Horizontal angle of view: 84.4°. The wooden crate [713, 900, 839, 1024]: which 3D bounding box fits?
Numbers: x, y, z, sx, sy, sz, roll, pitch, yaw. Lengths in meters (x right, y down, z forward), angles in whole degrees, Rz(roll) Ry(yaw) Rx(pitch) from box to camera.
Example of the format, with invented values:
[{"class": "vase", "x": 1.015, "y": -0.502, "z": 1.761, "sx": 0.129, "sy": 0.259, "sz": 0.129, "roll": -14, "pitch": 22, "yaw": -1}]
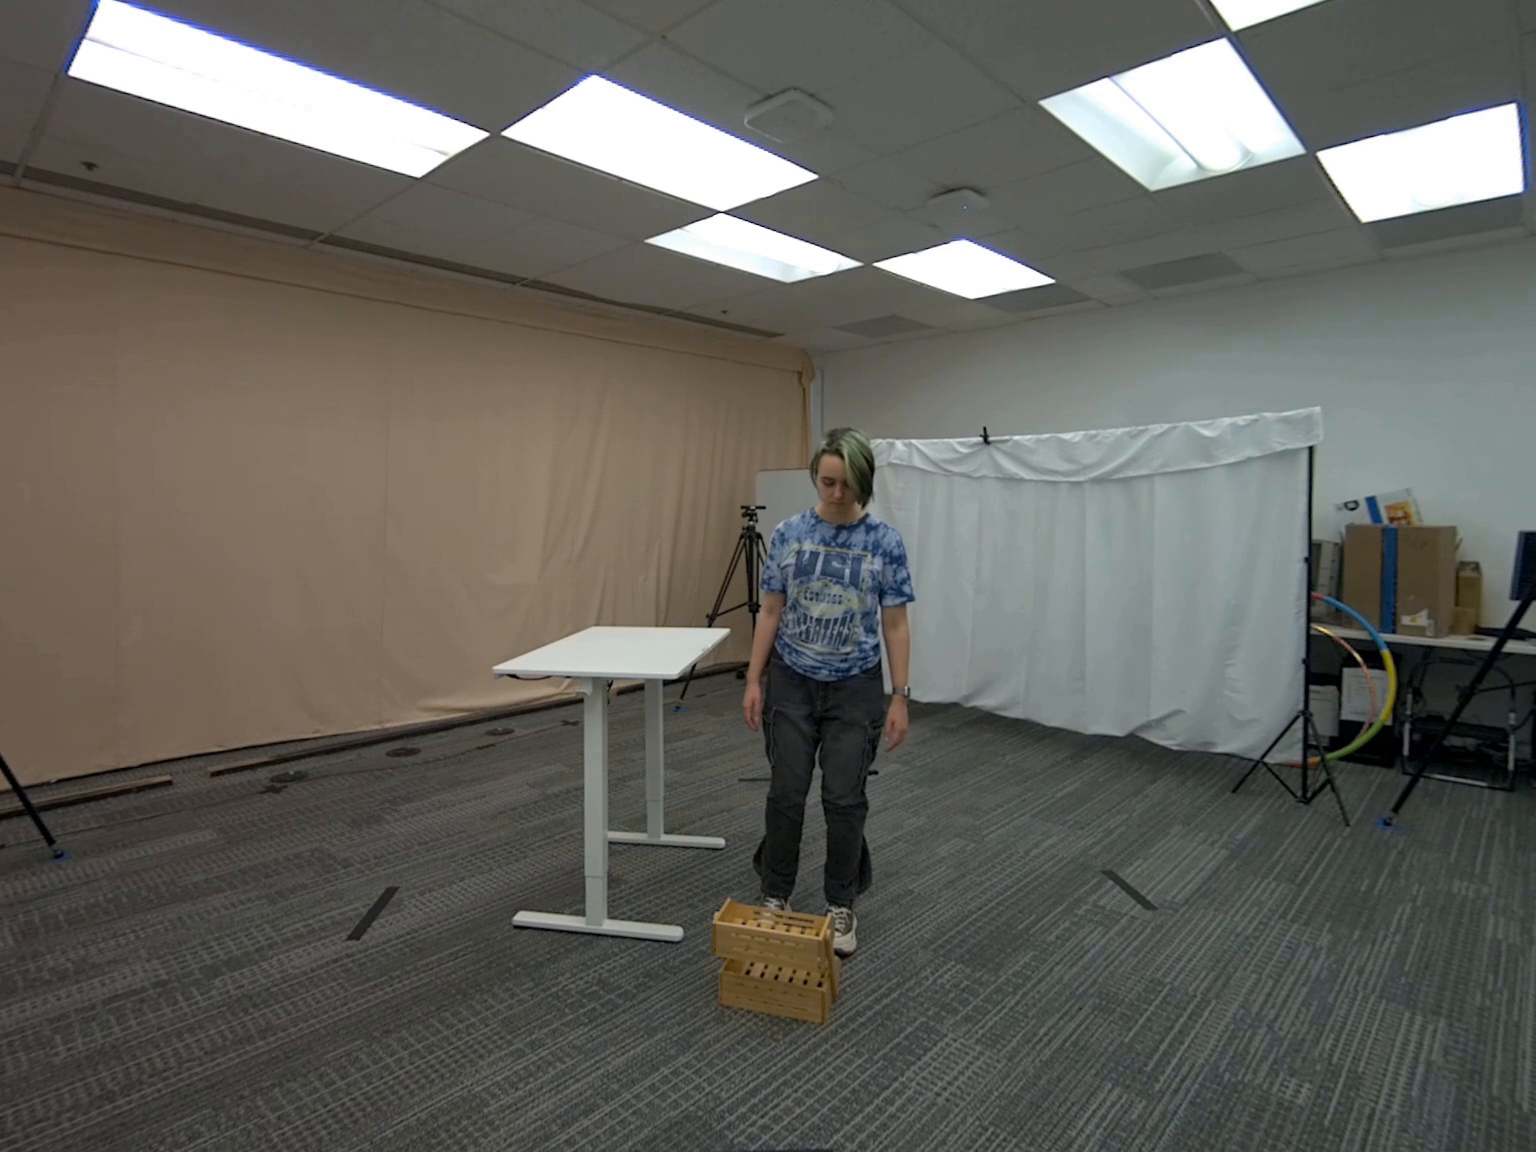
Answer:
[{"class": "wooden crate", "x": 0.032, "y": 1.052, "z": 2.404, "sx": 0.330, "sy": 0.273, "sz": 0.297, "roll": 1, "pitch": 4, "yaw": 16}]
